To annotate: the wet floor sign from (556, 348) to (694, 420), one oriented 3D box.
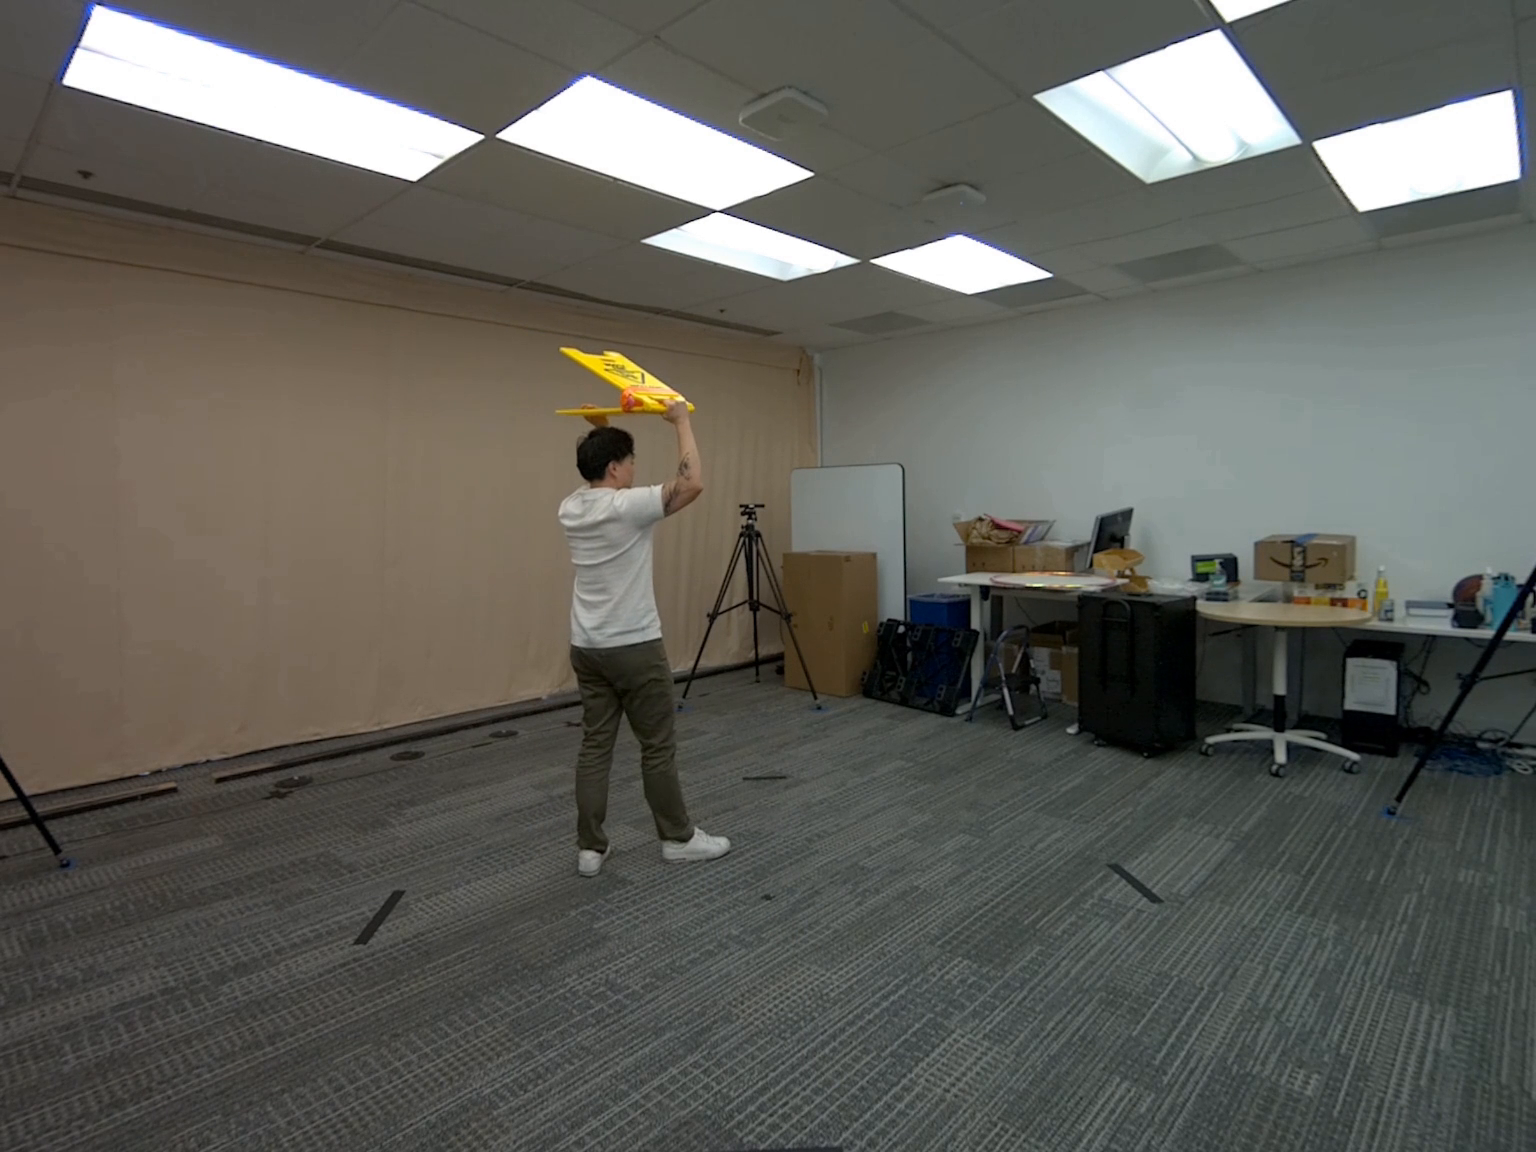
[{"bbox_3d":[-0.549,-0.705,3.286,0.274,0.287,0.670,-6,22,-39],"label":"wet floor sign"}]
